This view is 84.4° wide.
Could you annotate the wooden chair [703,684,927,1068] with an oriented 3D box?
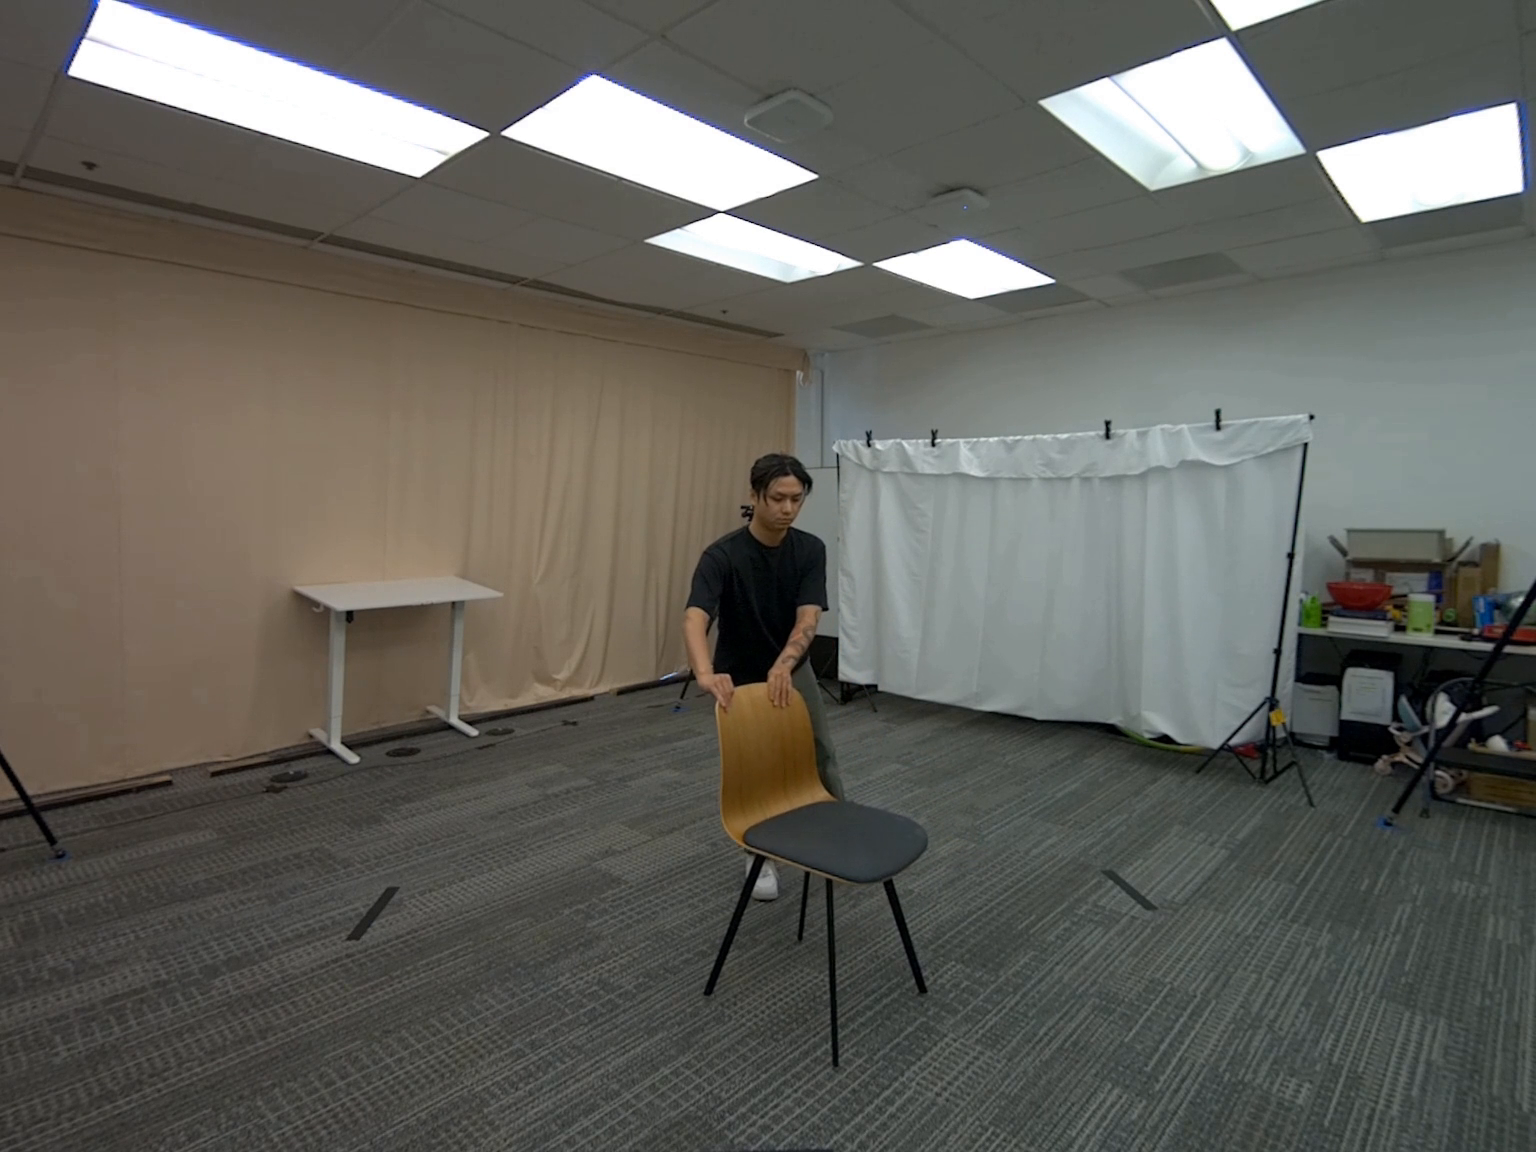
[{"bbox_3d":[0.150,0.762,2.369,0.539,0.878,0.463,-3,-1,41],"label":"wooden chair"}]
